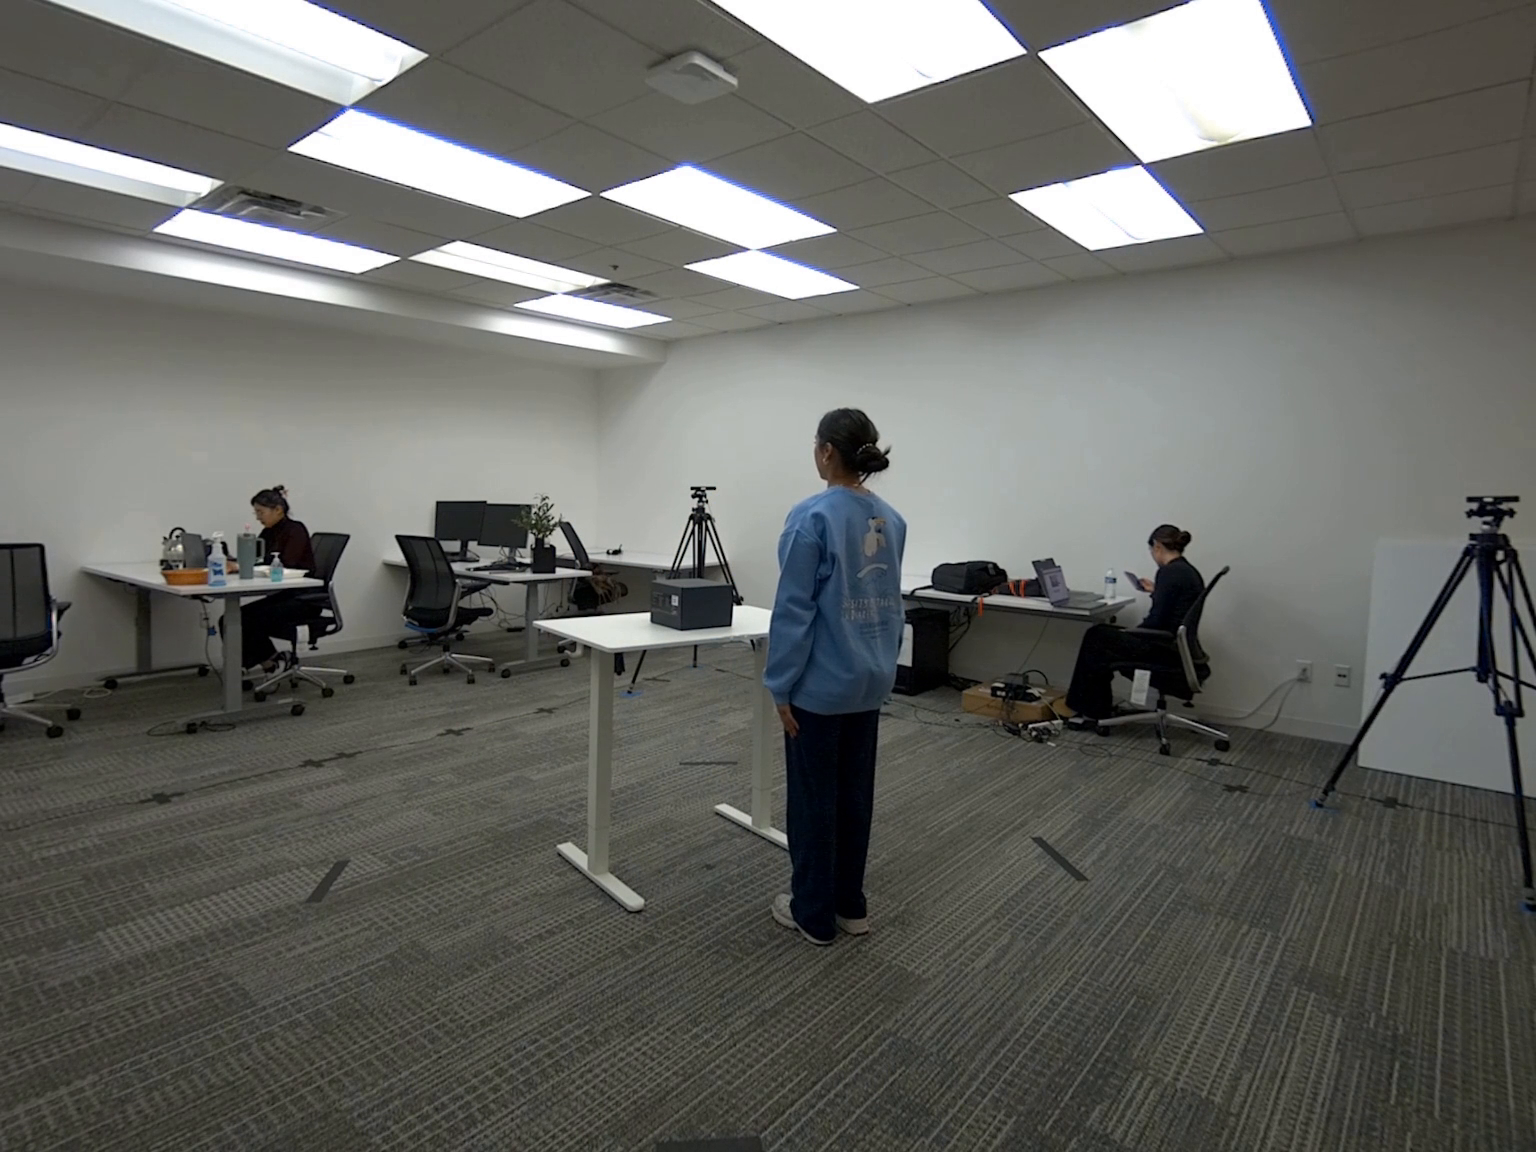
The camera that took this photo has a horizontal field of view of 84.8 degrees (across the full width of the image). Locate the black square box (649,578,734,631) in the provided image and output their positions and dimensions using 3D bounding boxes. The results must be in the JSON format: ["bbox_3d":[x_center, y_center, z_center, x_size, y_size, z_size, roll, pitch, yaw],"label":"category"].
[{"bbox_3d":[-0.288,0.101,3.135,0.221,0.155,0.224,-2,6,-37],"label":"black square box"}]
